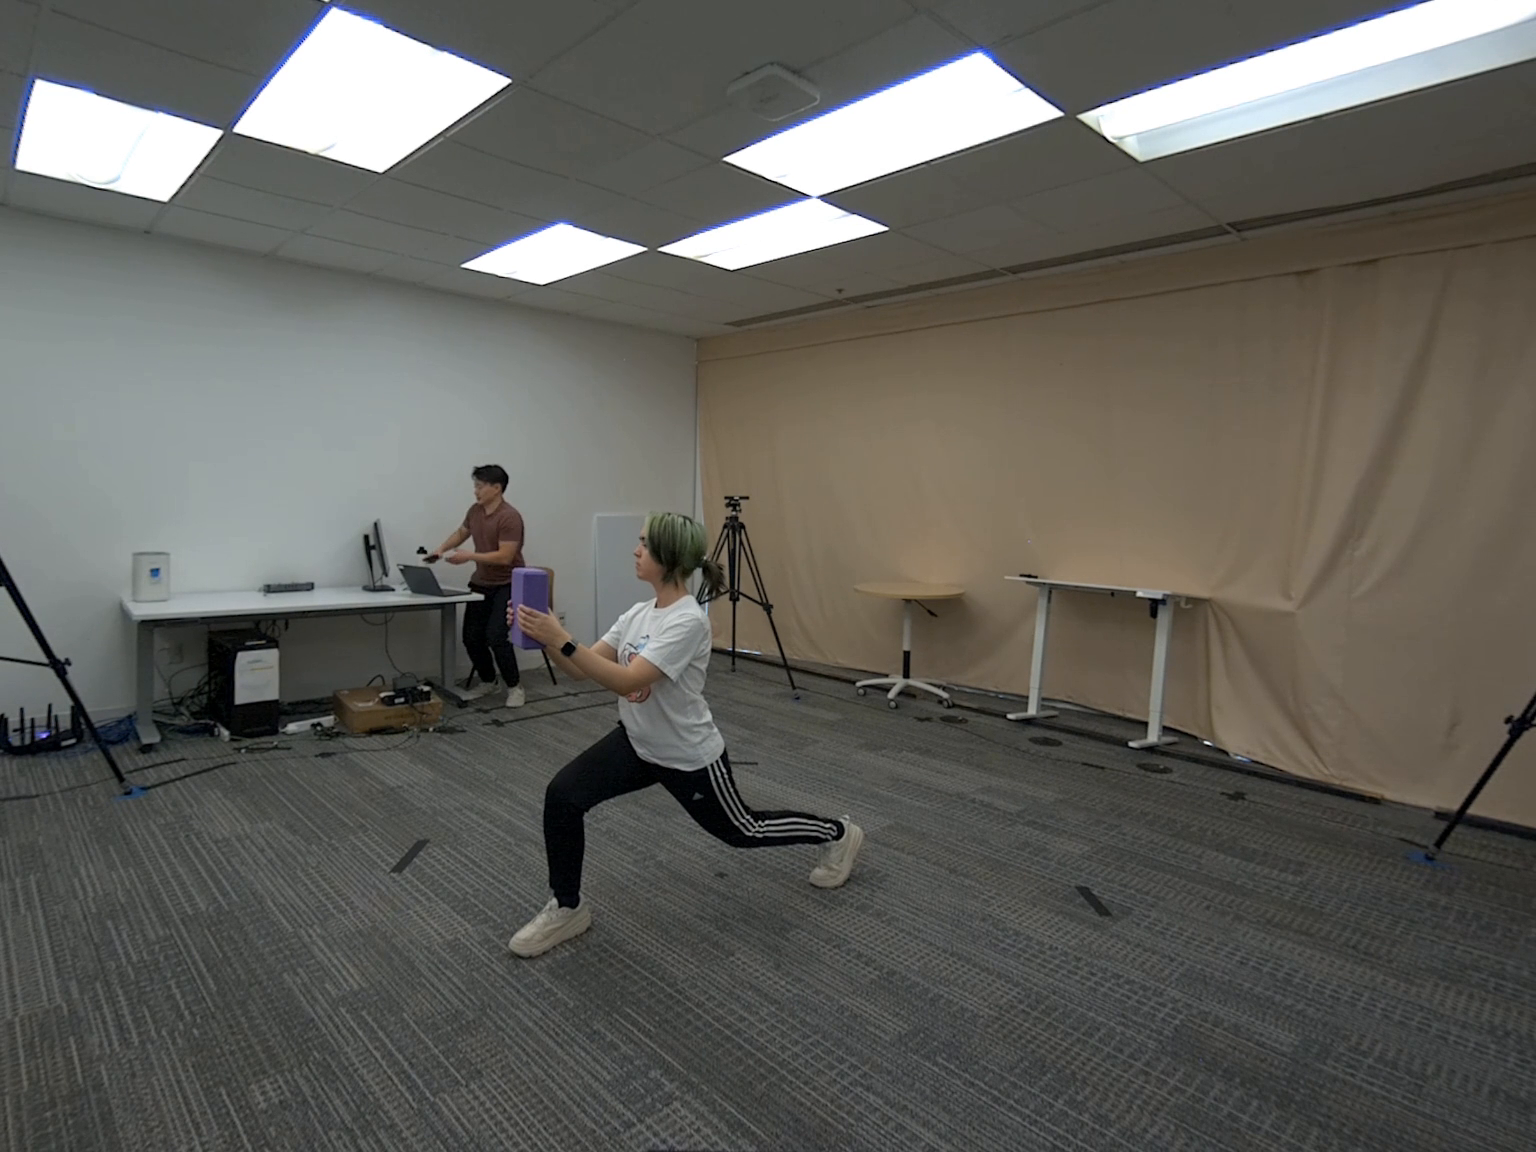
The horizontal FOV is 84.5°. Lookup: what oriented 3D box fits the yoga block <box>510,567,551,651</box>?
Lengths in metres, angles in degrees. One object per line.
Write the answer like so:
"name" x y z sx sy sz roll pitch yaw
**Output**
"yoga block" -0.723 0.095 2.504 0.075 0.229 0.152 1 2 -26
